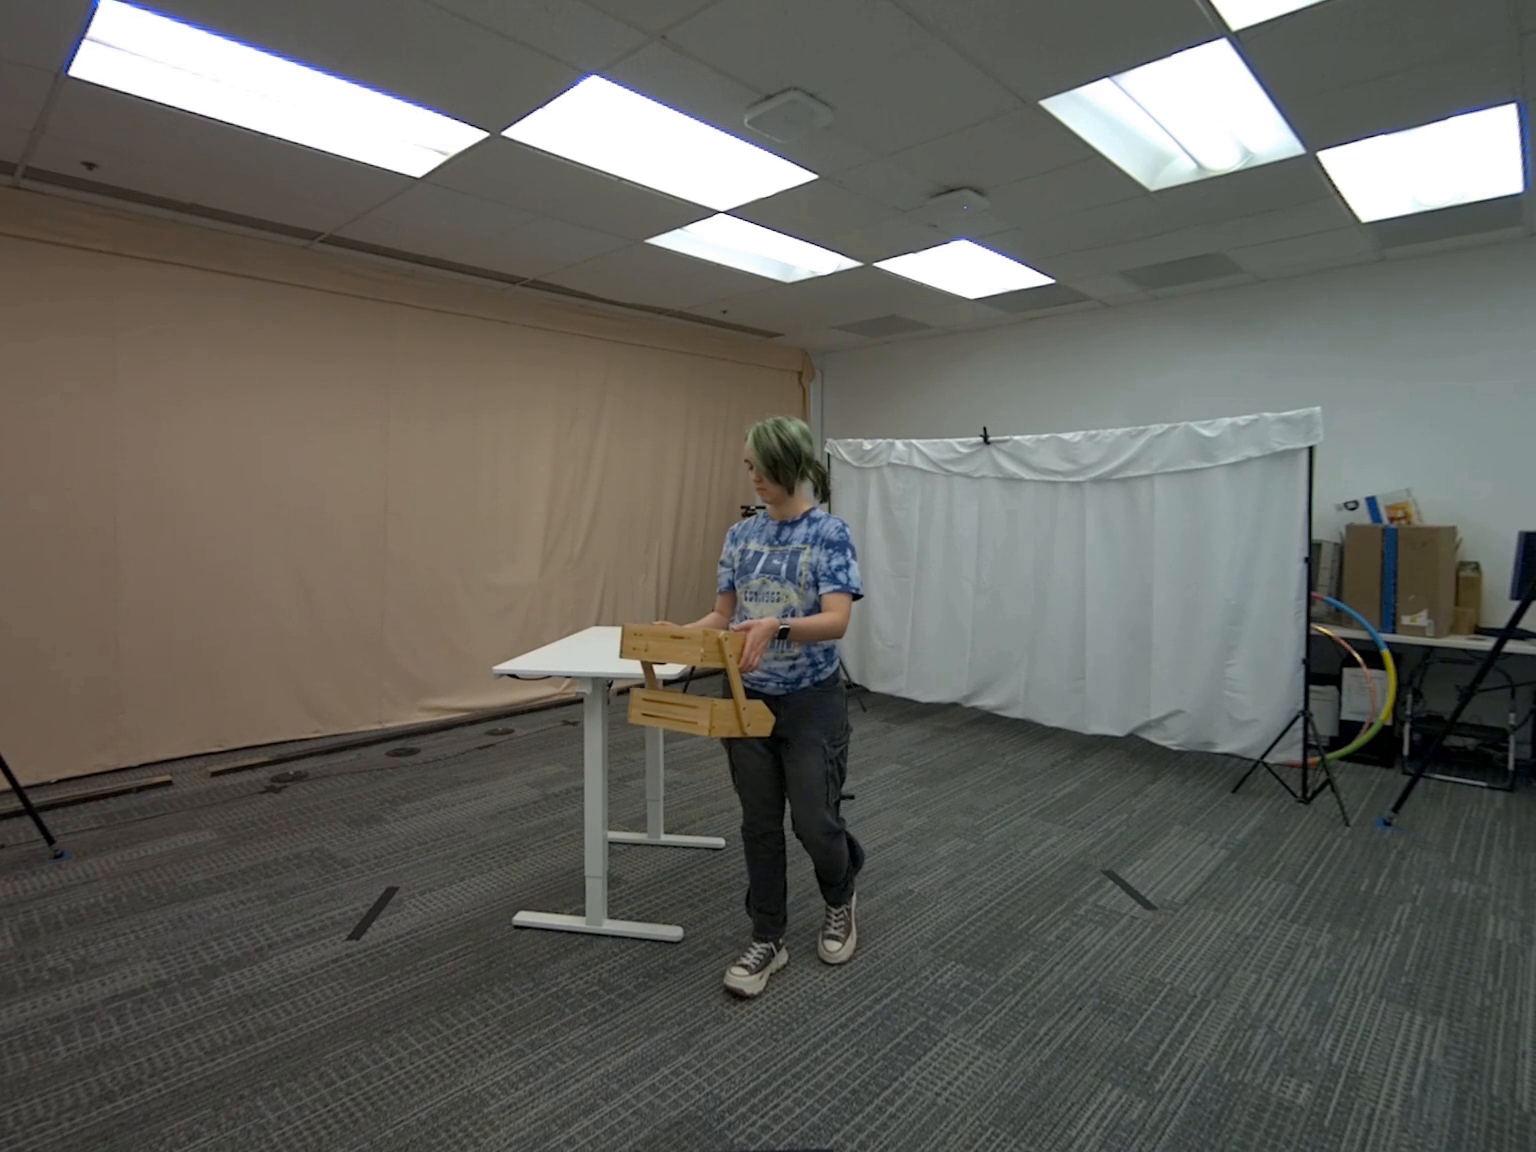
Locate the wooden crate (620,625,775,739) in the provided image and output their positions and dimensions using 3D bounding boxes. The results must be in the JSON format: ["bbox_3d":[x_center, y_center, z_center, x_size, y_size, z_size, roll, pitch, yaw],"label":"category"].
[{"bbox_3d":[-0.180,0.268,2.224,0.335,0.274,0.291,0,-8,40],"label":"wooden crate"}]
